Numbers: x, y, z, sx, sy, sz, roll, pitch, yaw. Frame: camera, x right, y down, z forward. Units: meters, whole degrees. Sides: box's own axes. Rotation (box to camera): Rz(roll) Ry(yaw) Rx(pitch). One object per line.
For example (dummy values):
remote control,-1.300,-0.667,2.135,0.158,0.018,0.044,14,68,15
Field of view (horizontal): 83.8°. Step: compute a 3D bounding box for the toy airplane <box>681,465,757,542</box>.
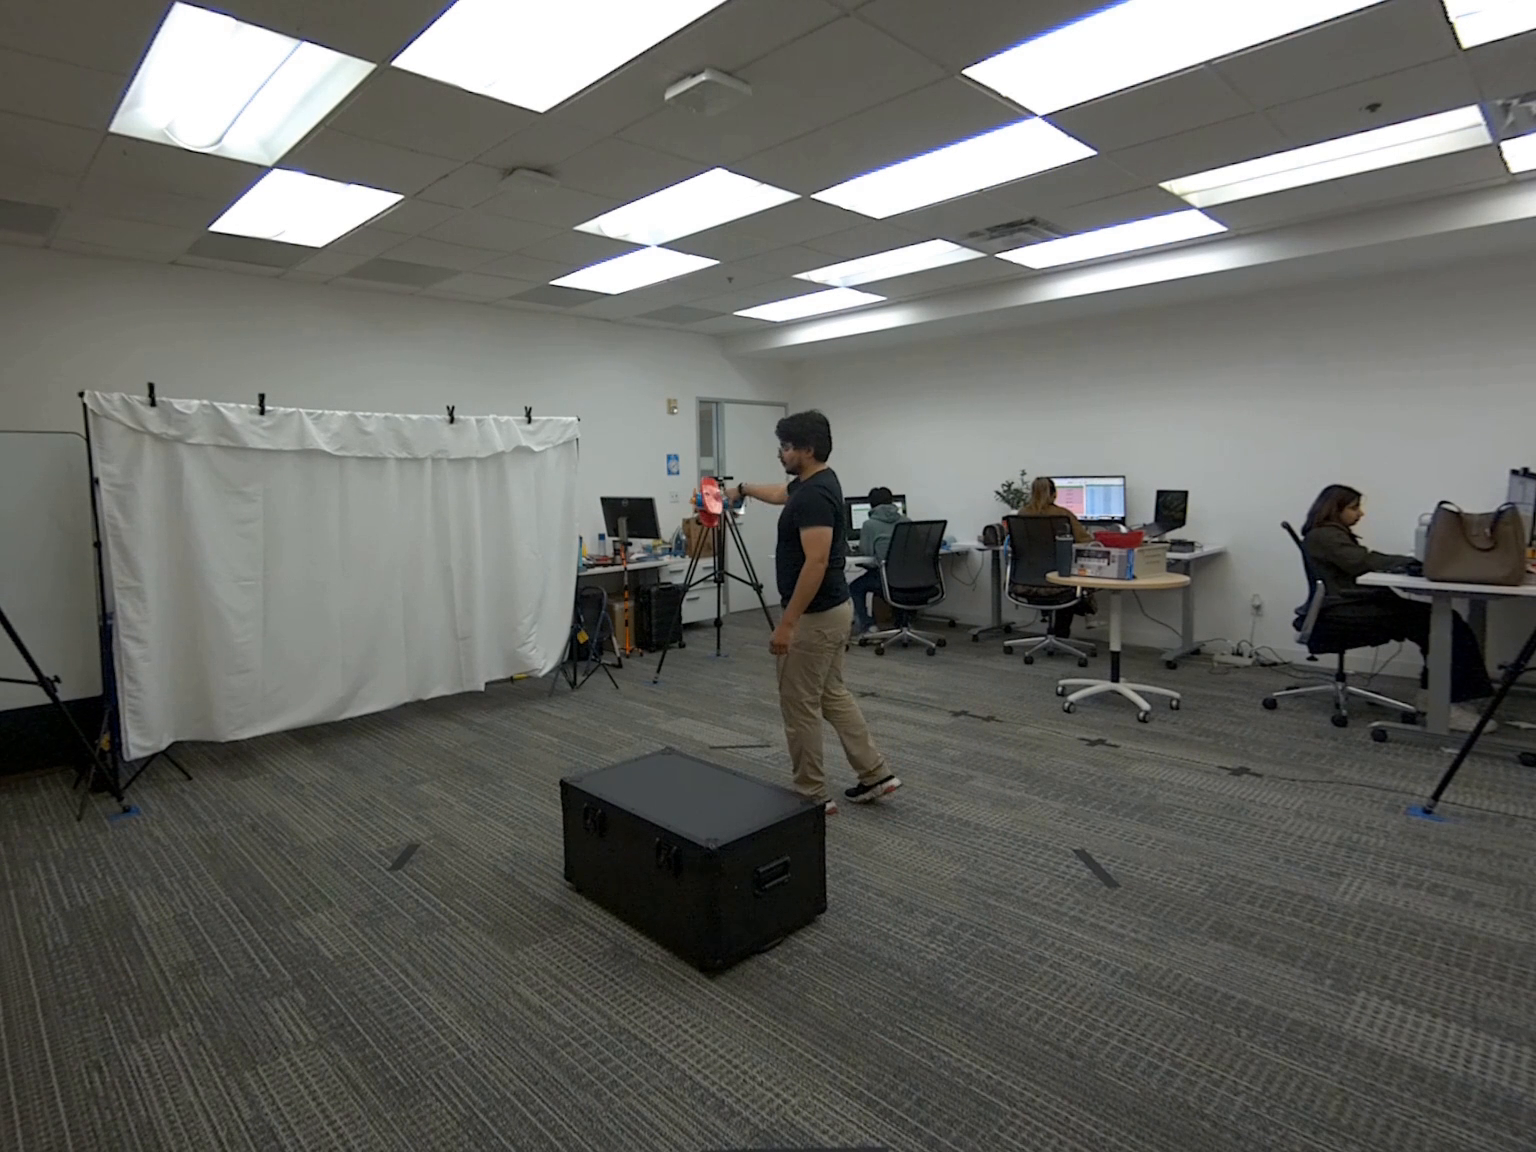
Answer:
toy airplane,-0.235,-0.352,4.083,0.257,0.152,0.260,-31,56,-27
